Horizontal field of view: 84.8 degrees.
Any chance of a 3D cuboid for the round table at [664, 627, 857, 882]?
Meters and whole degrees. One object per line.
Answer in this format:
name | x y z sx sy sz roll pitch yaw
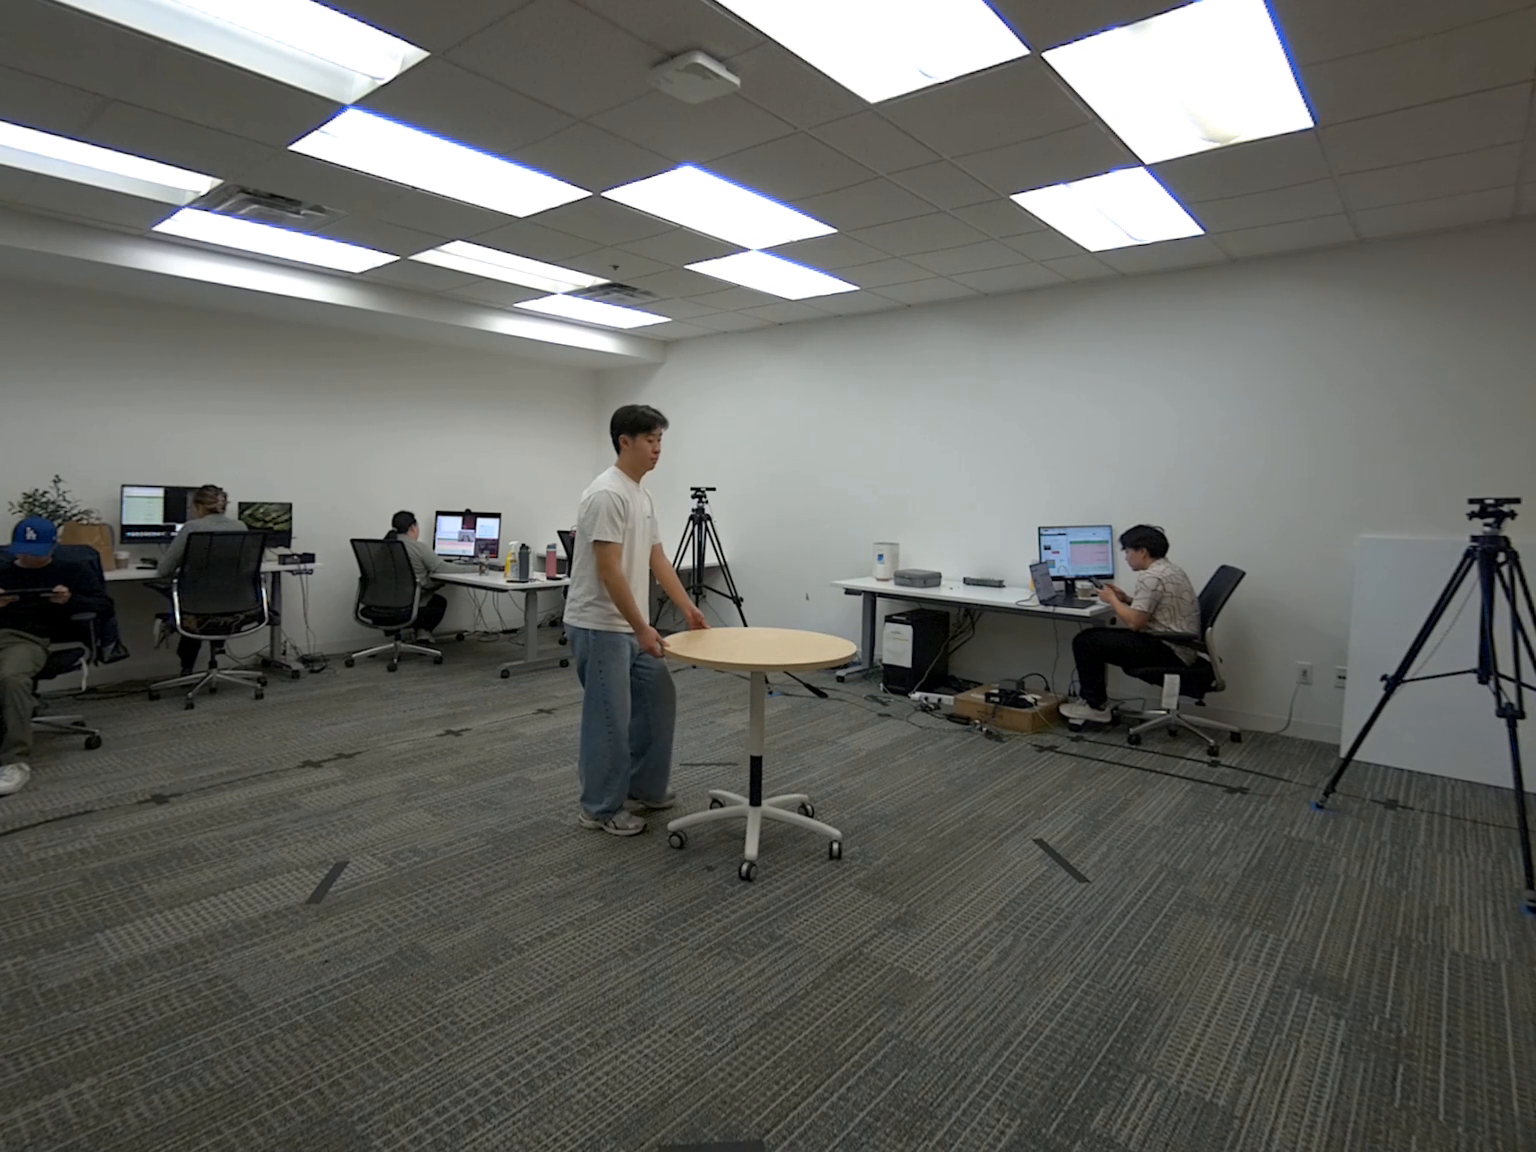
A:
round table | -0.058 0.658 3.347 0.763 0.792 0.767 1 4 -2
